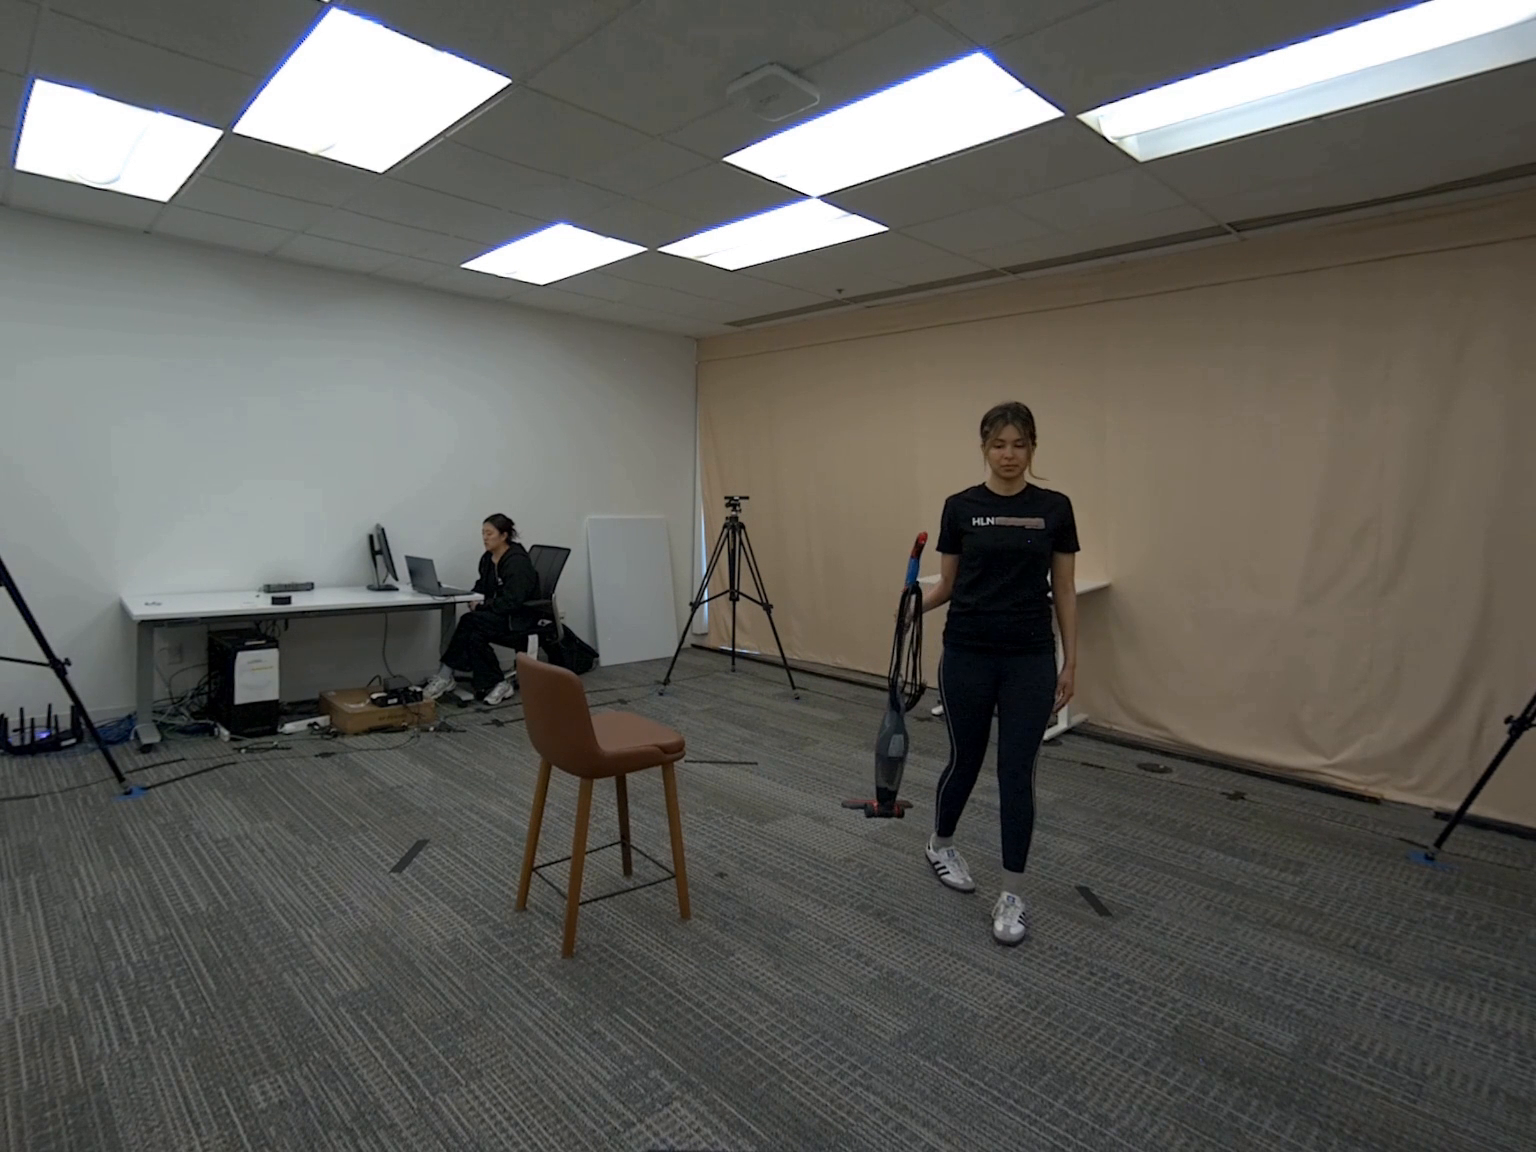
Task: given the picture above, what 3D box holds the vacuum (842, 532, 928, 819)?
[{"bbox_3d":[0.439,0.353,2.796,0.250,1.036,0.147,1,21,-12],"label":"vacuum"}]
